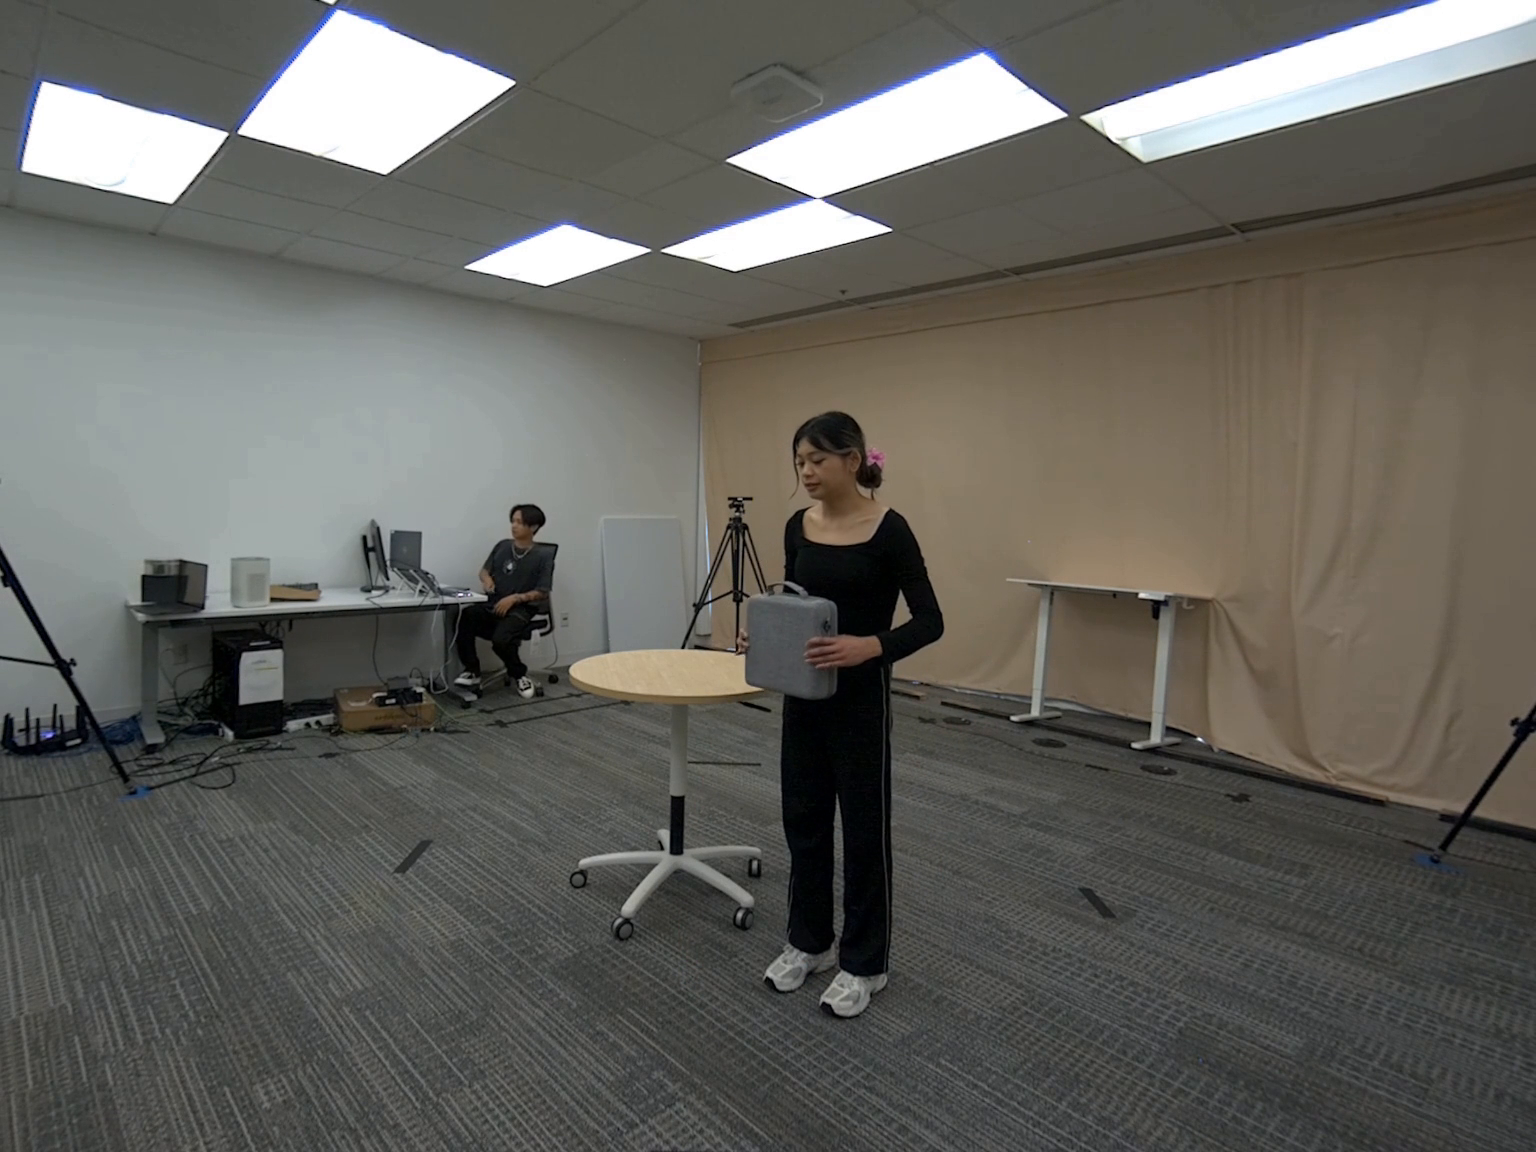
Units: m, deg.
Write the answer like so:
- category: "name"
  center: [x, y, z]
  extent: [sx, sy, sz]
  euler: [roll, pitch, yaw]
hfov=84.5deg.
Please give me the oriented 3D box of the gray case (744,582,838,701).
- category: "gray case"
  center: [0.060, 0.180, 2.190]
  extent: [0.102, 0.260, 0.263]
  euler: [-3, 5, -44]
